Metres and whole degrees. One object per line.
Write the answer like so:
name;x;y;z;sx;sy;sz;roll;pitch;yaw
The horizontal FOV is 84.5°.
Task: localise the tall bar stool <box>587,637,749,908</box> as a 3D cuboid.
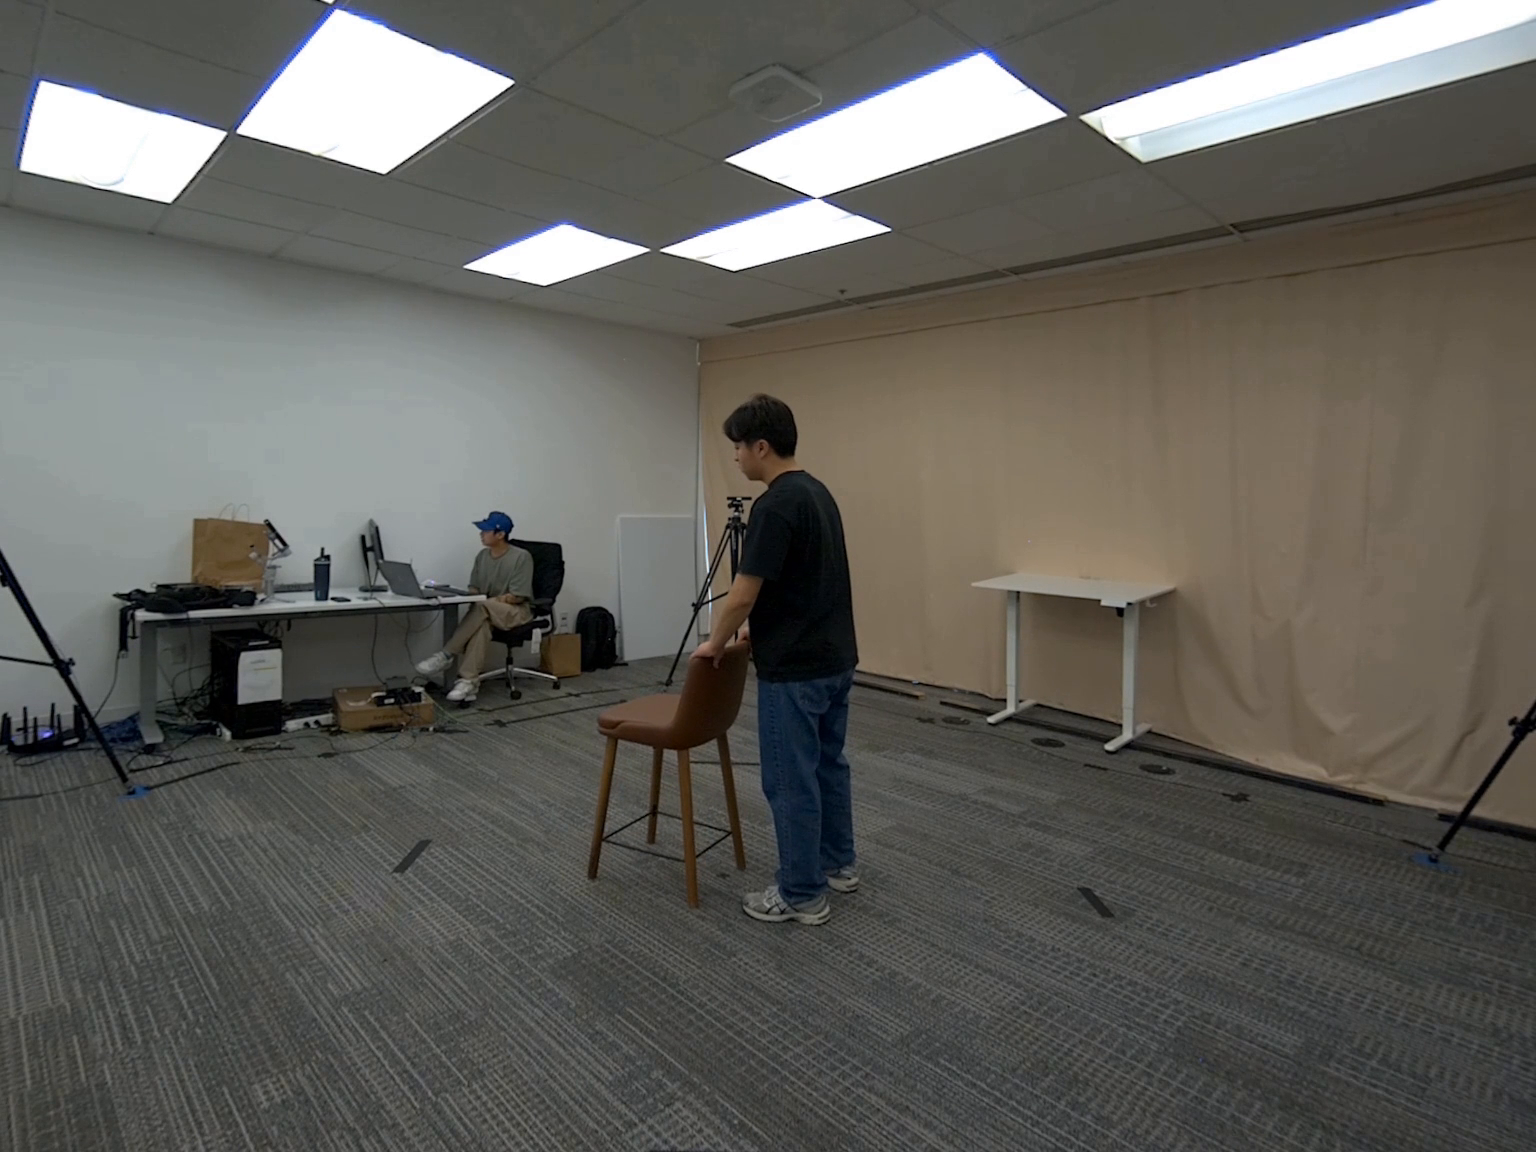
tall bar stool;-0.352;0.665;3.090;0.478;0.887;0.448;6;6;29
